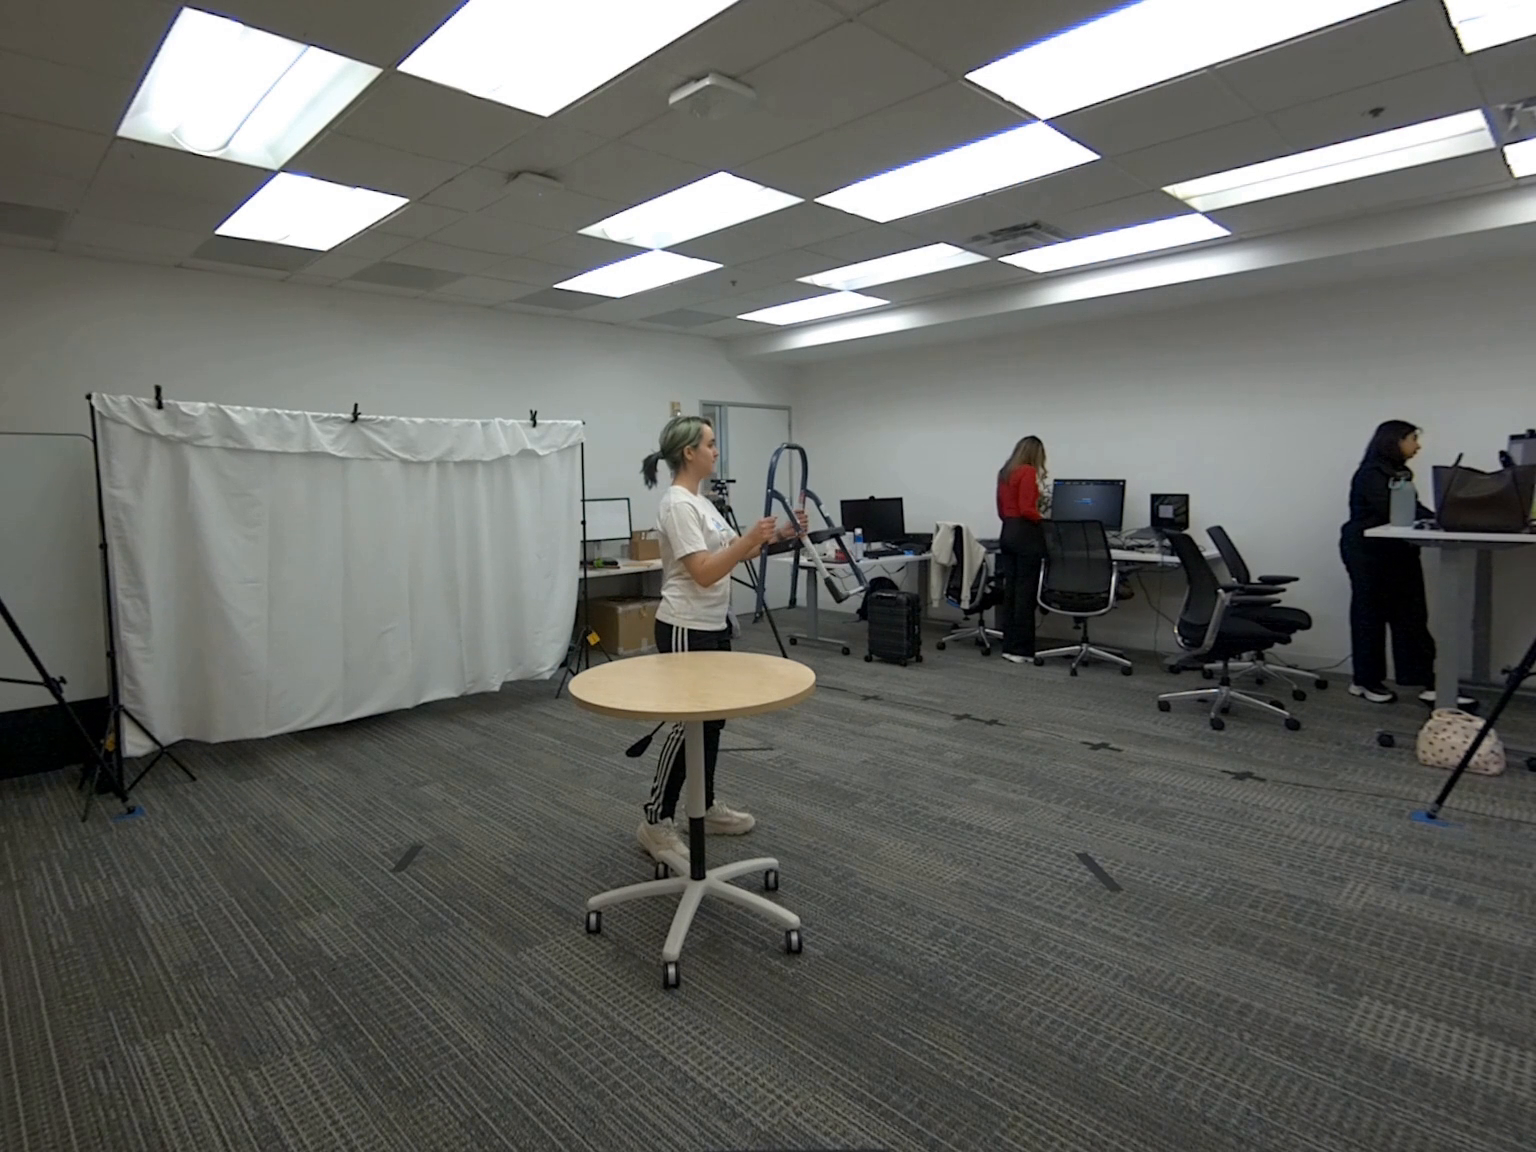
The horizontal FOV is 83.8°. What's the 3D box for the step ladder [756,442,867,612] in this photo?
[{"bbox_3d":[0.091,-0.182,3.199,0.354,0.608,0.423,-14,-2,21],"label":"step ladder"}]
